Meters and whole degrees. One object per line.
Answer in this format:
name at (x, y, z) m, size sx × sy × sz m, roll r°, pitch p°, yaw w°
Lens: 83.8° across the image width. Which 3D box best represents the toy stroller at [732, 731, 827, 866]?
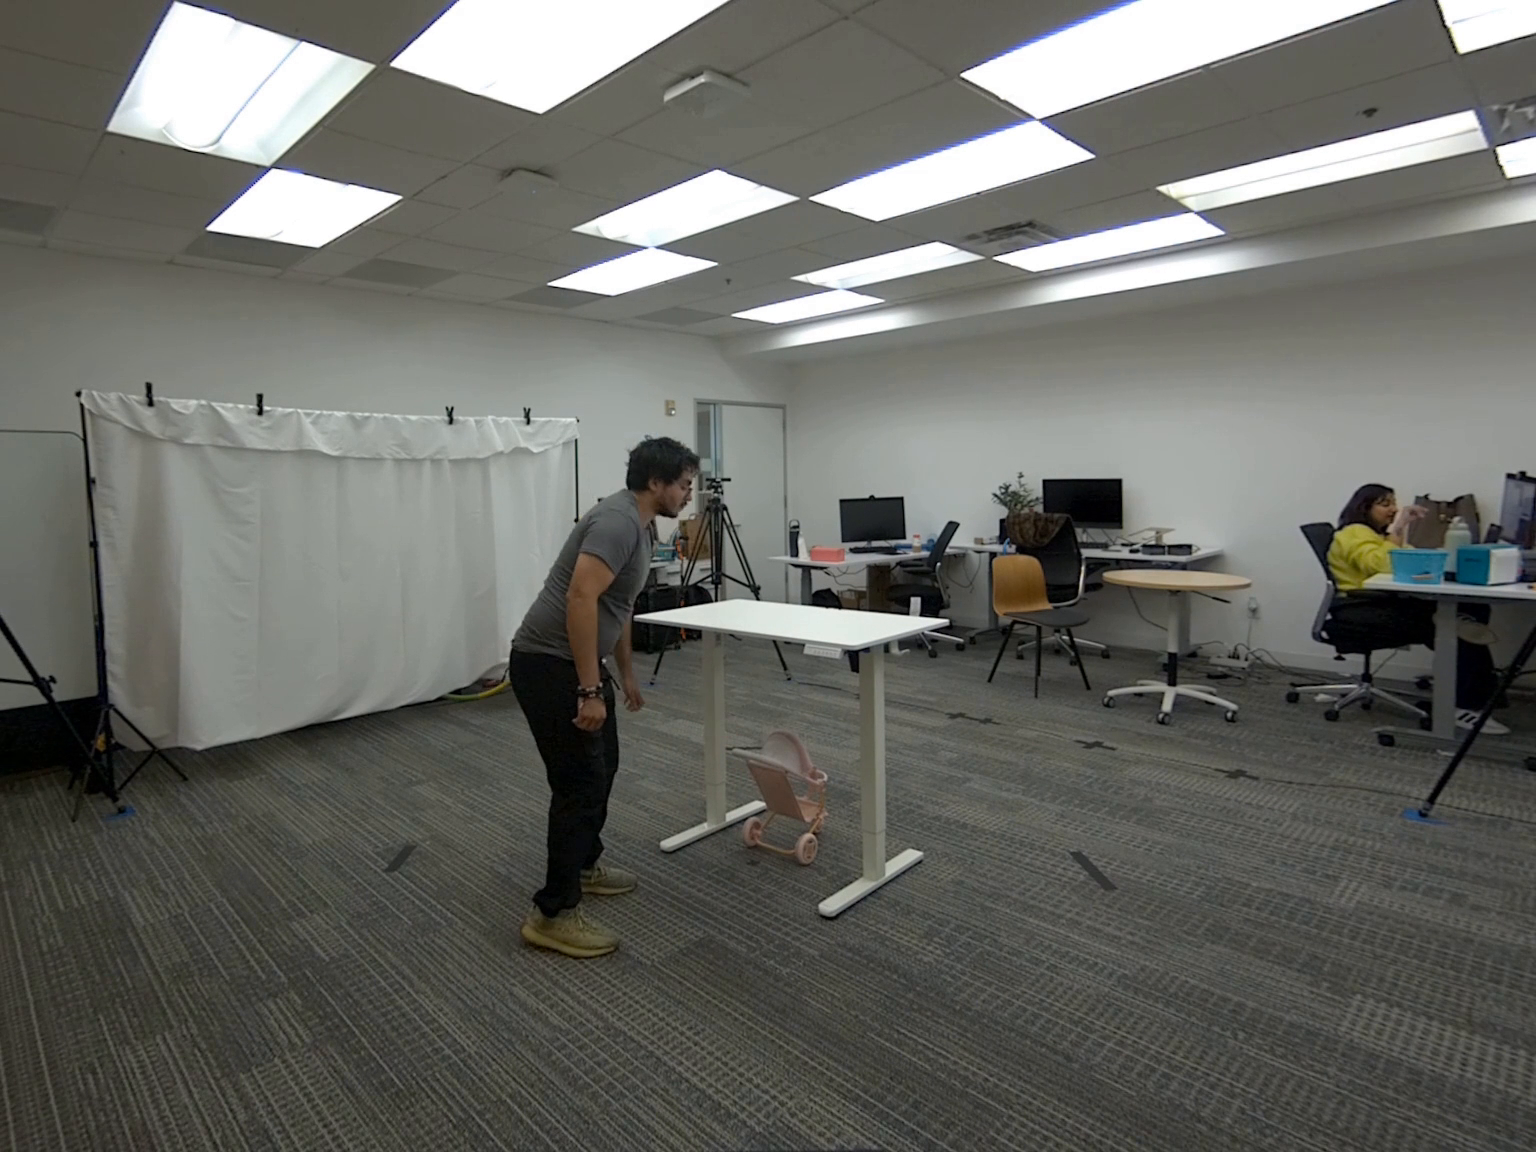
toy stroller at (0.079, 0.808, 3.206) m, size 0.290 × 0.526 × 0.337 m, roll 4°, pitch 23°, yaw 43°
